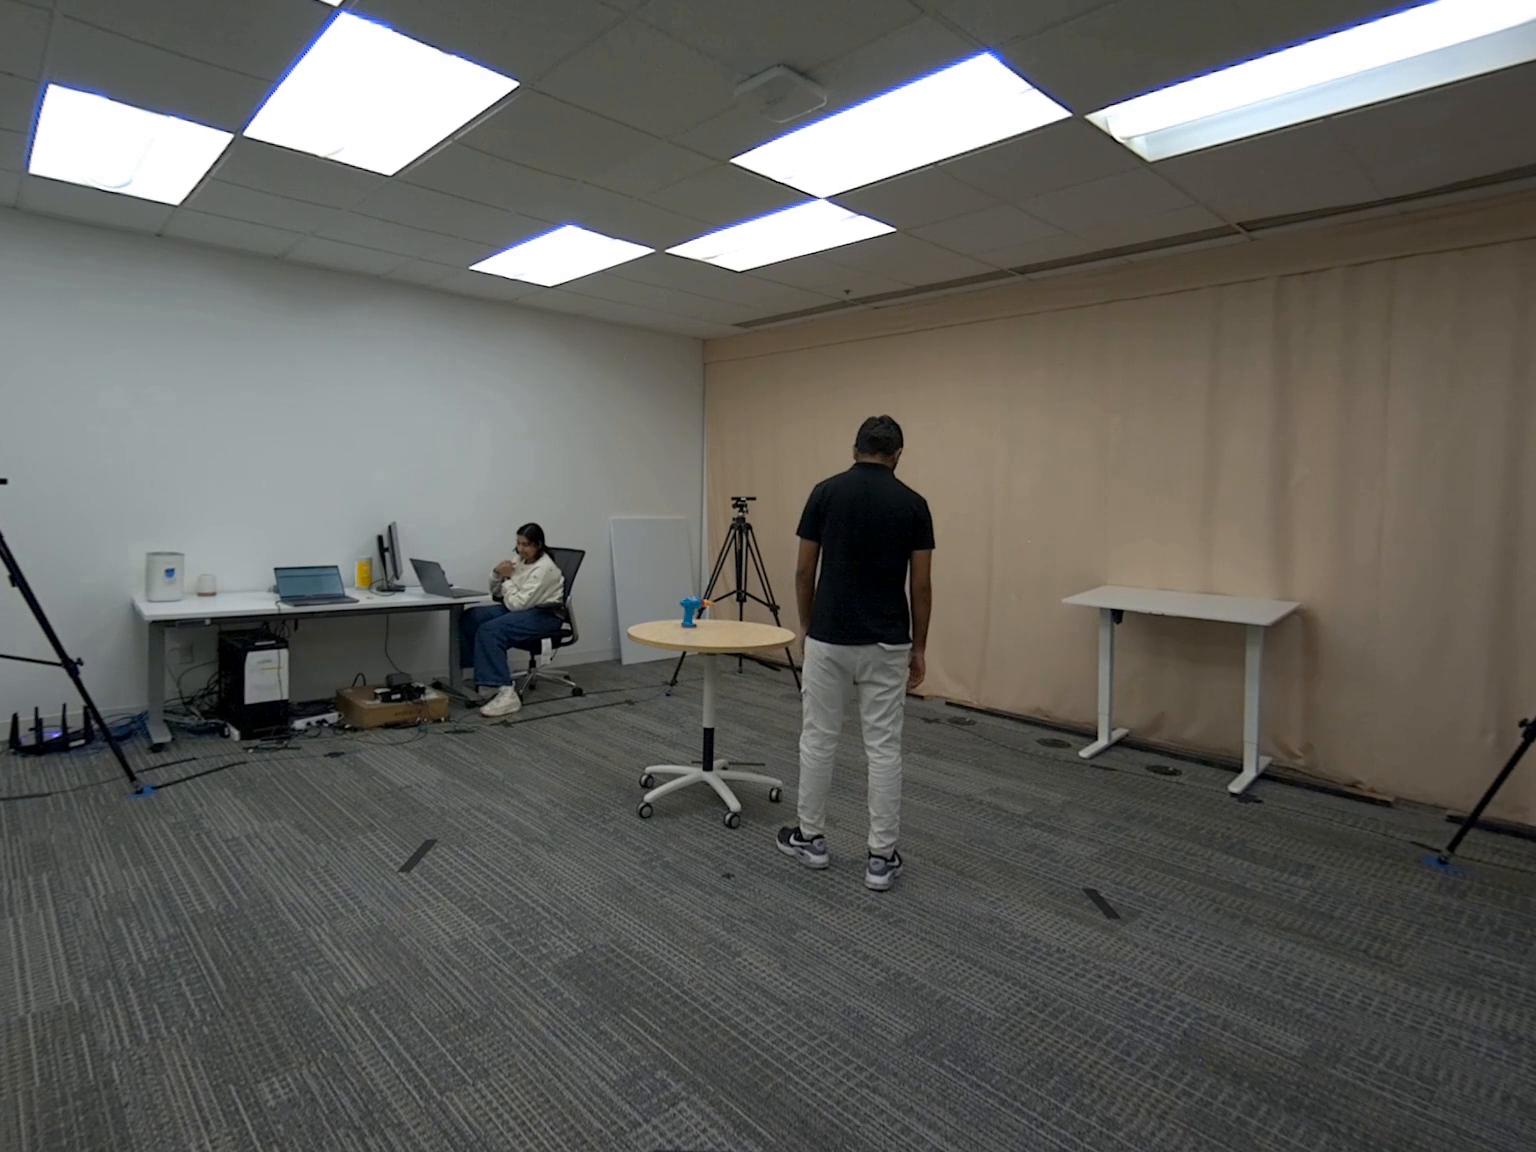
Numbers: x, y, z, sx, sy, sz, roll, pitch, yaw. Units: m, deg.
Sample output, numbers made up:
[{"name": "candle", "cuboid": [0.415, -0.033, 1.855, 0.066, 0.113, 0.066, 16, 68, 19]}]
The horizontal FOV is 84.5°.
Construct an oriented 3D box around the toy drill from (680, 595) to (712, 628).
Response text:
[{"name": "toy drill", "cuboid": [-0.342, 0.168, 3.986, 0.167, 0.146, 0.062, 2, 0, -19]}]
